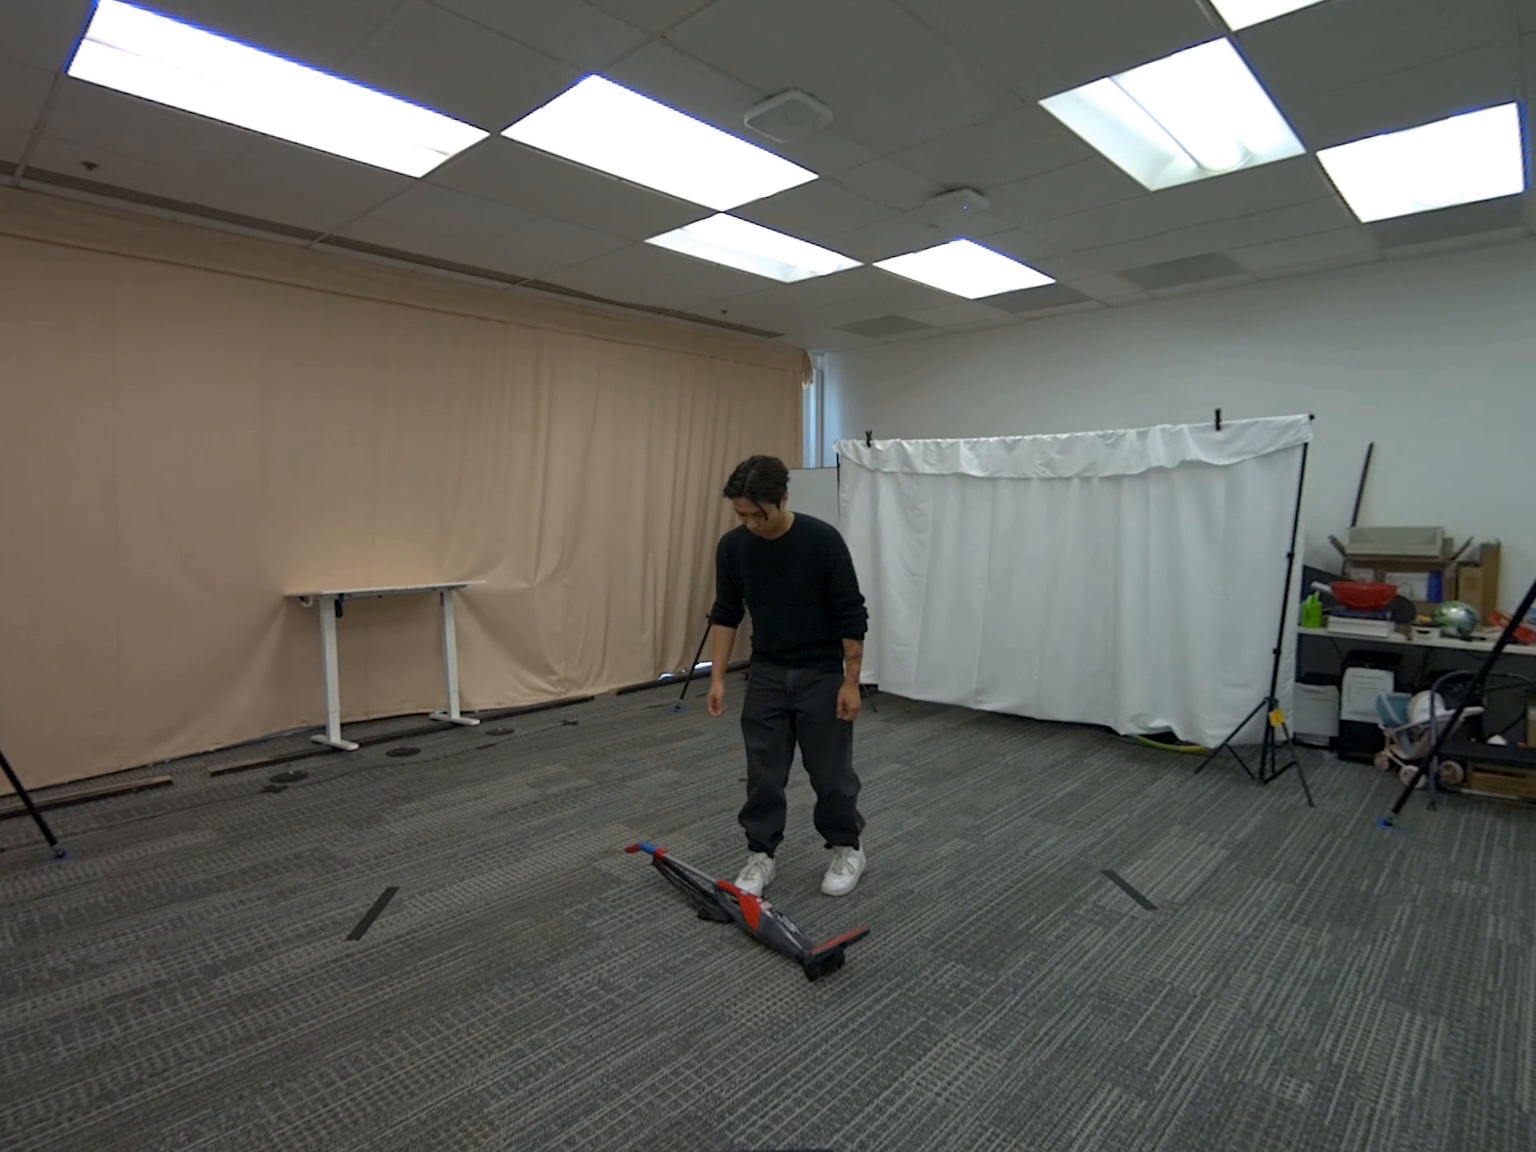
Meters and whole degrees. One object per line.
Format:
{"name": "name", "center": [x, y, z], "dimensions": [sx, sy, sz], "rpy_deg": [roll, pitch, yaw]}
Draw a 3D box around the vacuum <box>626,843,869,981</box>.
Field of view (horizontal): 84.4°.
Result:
{"name": "vacuum", "center": [-0.178, 1.094, 2.867], "dimensions": [0.244, 0.144, 1.084], "rpy_deg": [1, 2, -43]}
